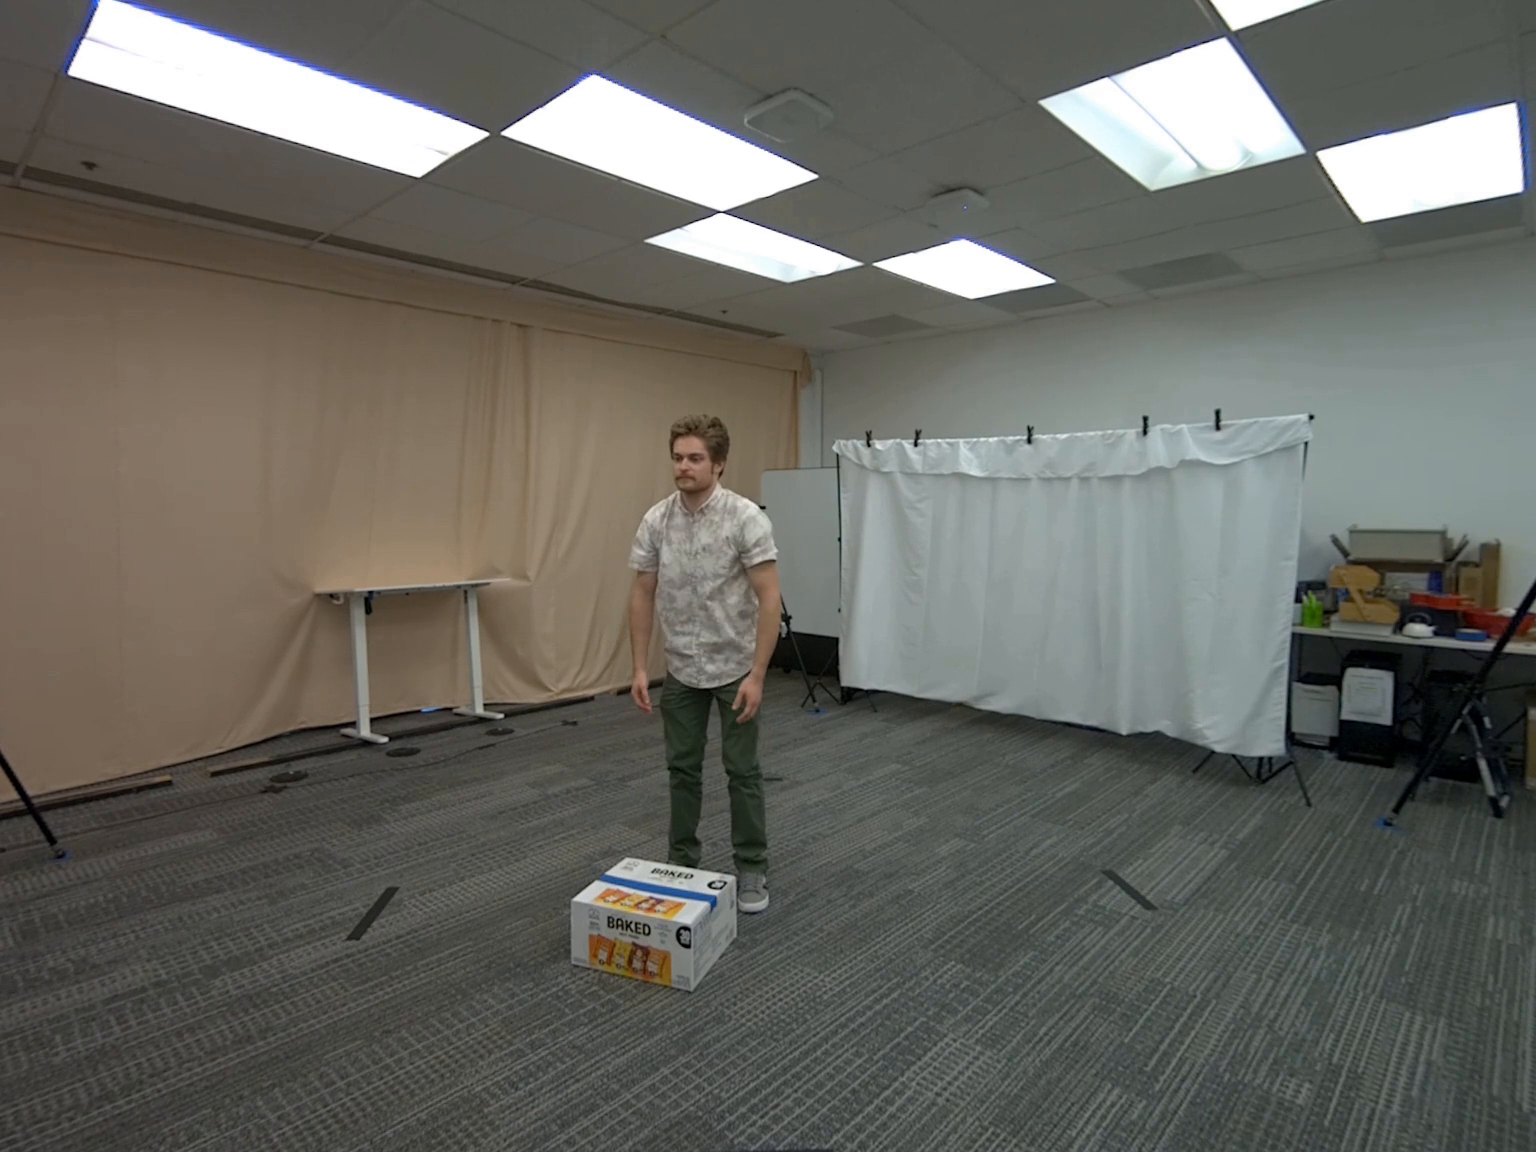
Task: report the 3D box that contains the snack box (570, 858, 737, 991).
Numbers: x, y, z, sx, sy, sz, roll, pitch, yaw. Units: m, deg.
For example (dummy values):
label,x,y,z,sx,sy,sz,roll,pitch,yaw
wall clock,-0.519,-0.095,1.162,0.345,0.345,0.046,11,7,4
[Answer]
label,x,y,z,sx,sy,sz,roll,pitch,yaw
snack box,-0.349,1.077,2.621,0.414,0.205,0.333,1,5,21
